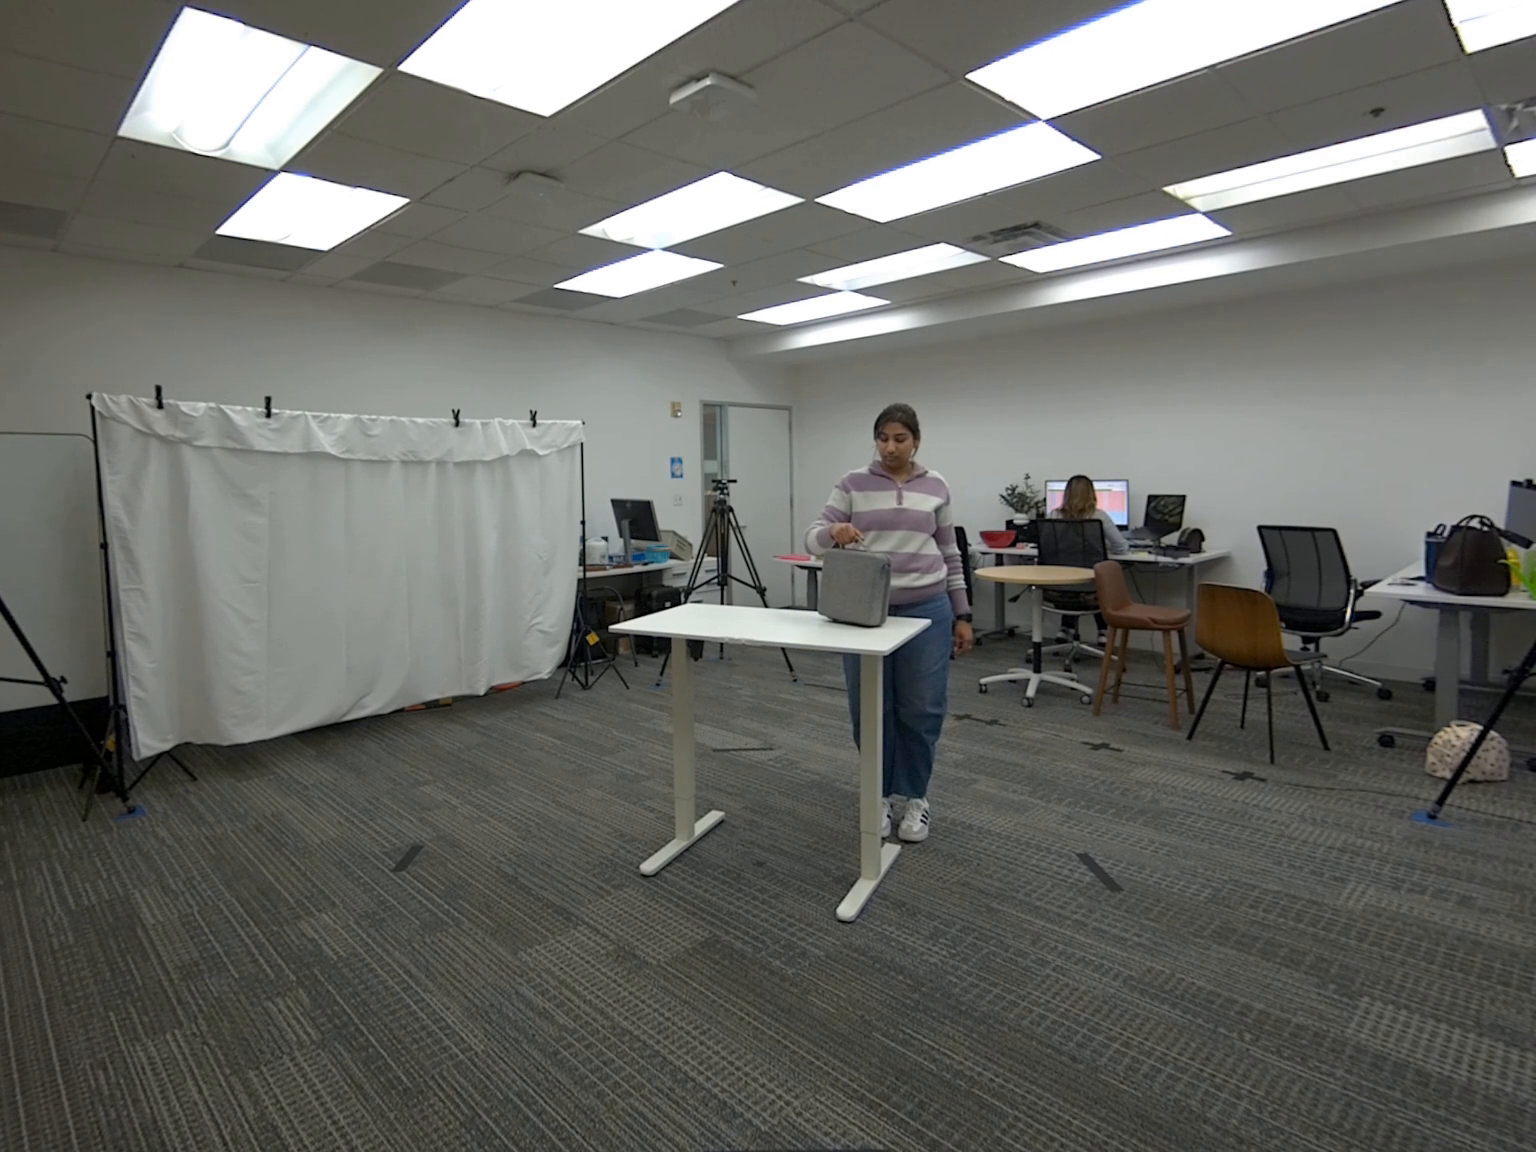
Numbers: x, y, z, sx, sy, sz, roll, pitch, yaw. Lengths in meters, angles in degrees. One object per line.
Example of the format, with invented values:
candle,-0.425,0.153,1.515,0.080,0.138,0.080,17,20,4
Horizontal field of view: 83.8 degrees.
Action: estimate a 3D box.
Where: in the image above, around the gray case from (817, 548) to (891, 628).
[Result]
gray case,0.307,0.032,3.017,0.101,0.261,0.265,5,0,-41
